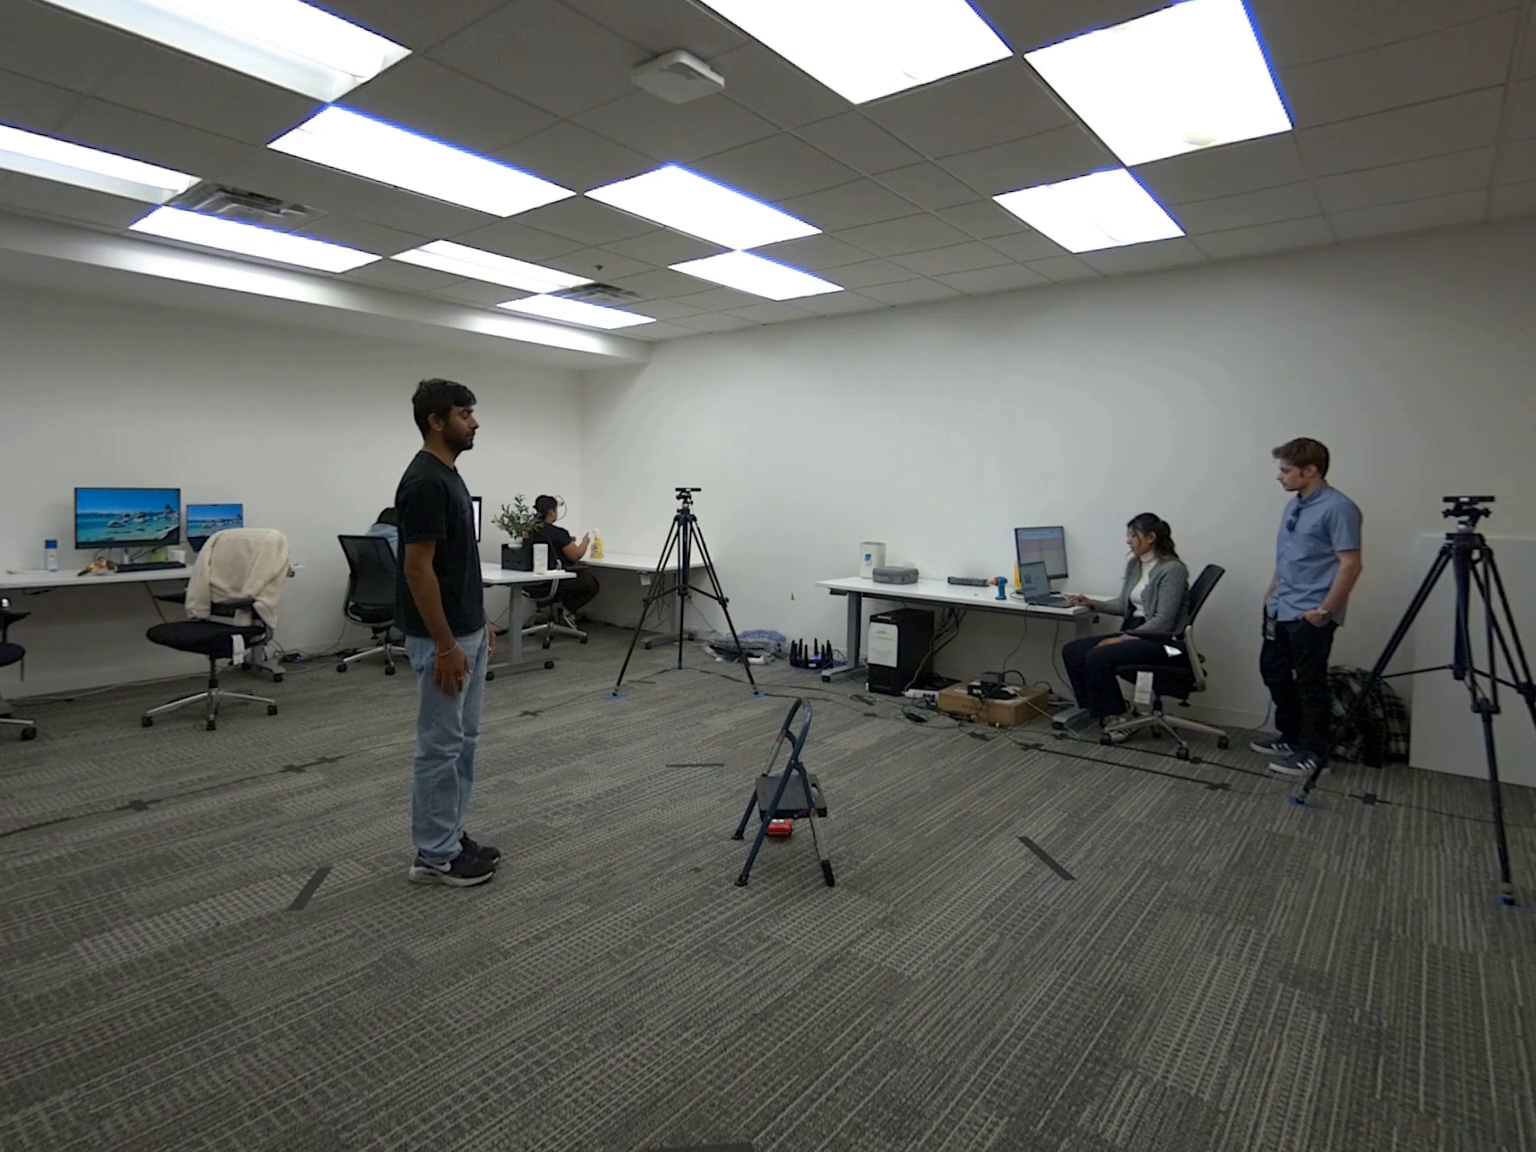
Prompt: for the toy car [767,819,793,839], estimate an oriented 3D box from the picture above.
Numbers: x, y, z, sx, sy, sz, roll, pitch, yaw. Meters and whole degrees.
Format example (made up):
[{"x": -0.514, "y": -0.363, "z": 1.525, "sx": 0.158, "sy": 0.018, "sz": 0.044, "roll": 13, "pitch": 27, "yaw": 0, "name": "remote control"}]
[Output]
[{"x": 0.034, "y": 1.014, "z": 3.495, "sx": 0.130, "sy": 0.084, "sz": 0.251, "roll": -1, "pitch": -9, "yaw": 1, "name": "toy car"}]
